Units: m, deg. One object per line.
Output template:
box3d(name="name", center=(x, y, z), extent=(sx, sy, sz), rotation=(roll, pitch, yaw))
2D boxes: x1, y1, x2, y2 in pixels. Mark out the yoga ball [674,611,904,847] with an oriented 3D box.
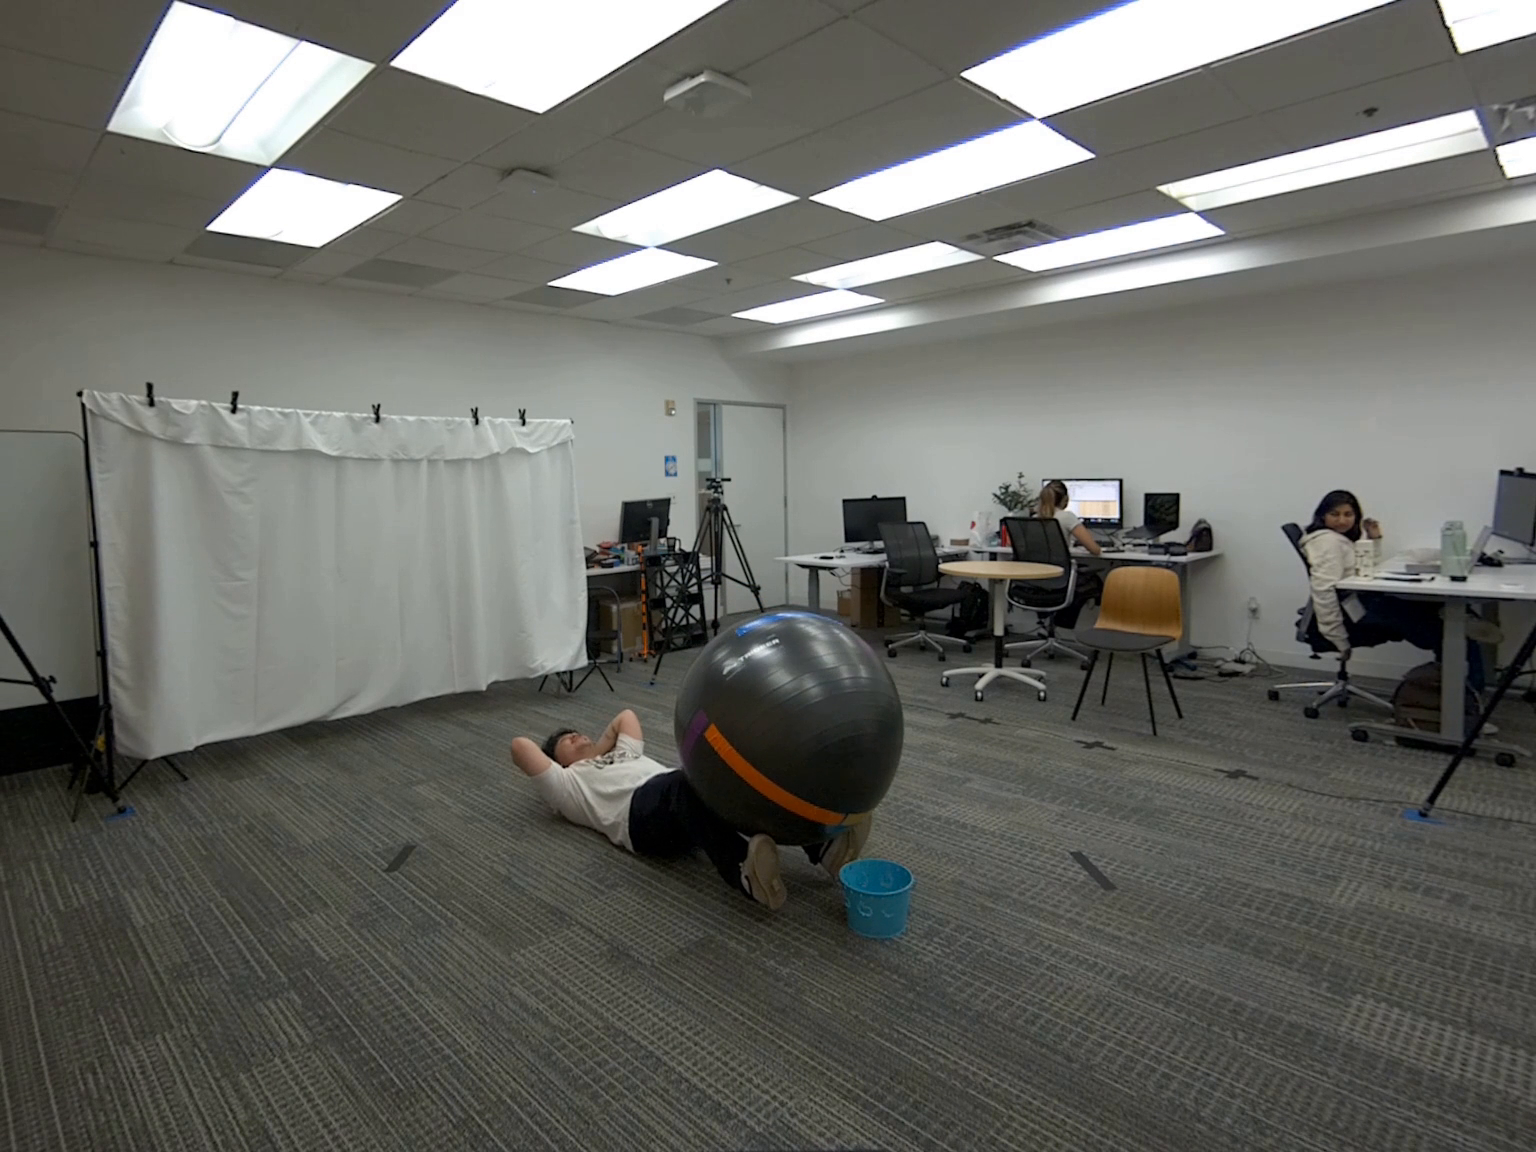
box3d(name="yoga ball", center=(0.067, 0.490, 2.851), extent=(0.757, 0.755, 0.762), rotation=(-1, 5, -2))
